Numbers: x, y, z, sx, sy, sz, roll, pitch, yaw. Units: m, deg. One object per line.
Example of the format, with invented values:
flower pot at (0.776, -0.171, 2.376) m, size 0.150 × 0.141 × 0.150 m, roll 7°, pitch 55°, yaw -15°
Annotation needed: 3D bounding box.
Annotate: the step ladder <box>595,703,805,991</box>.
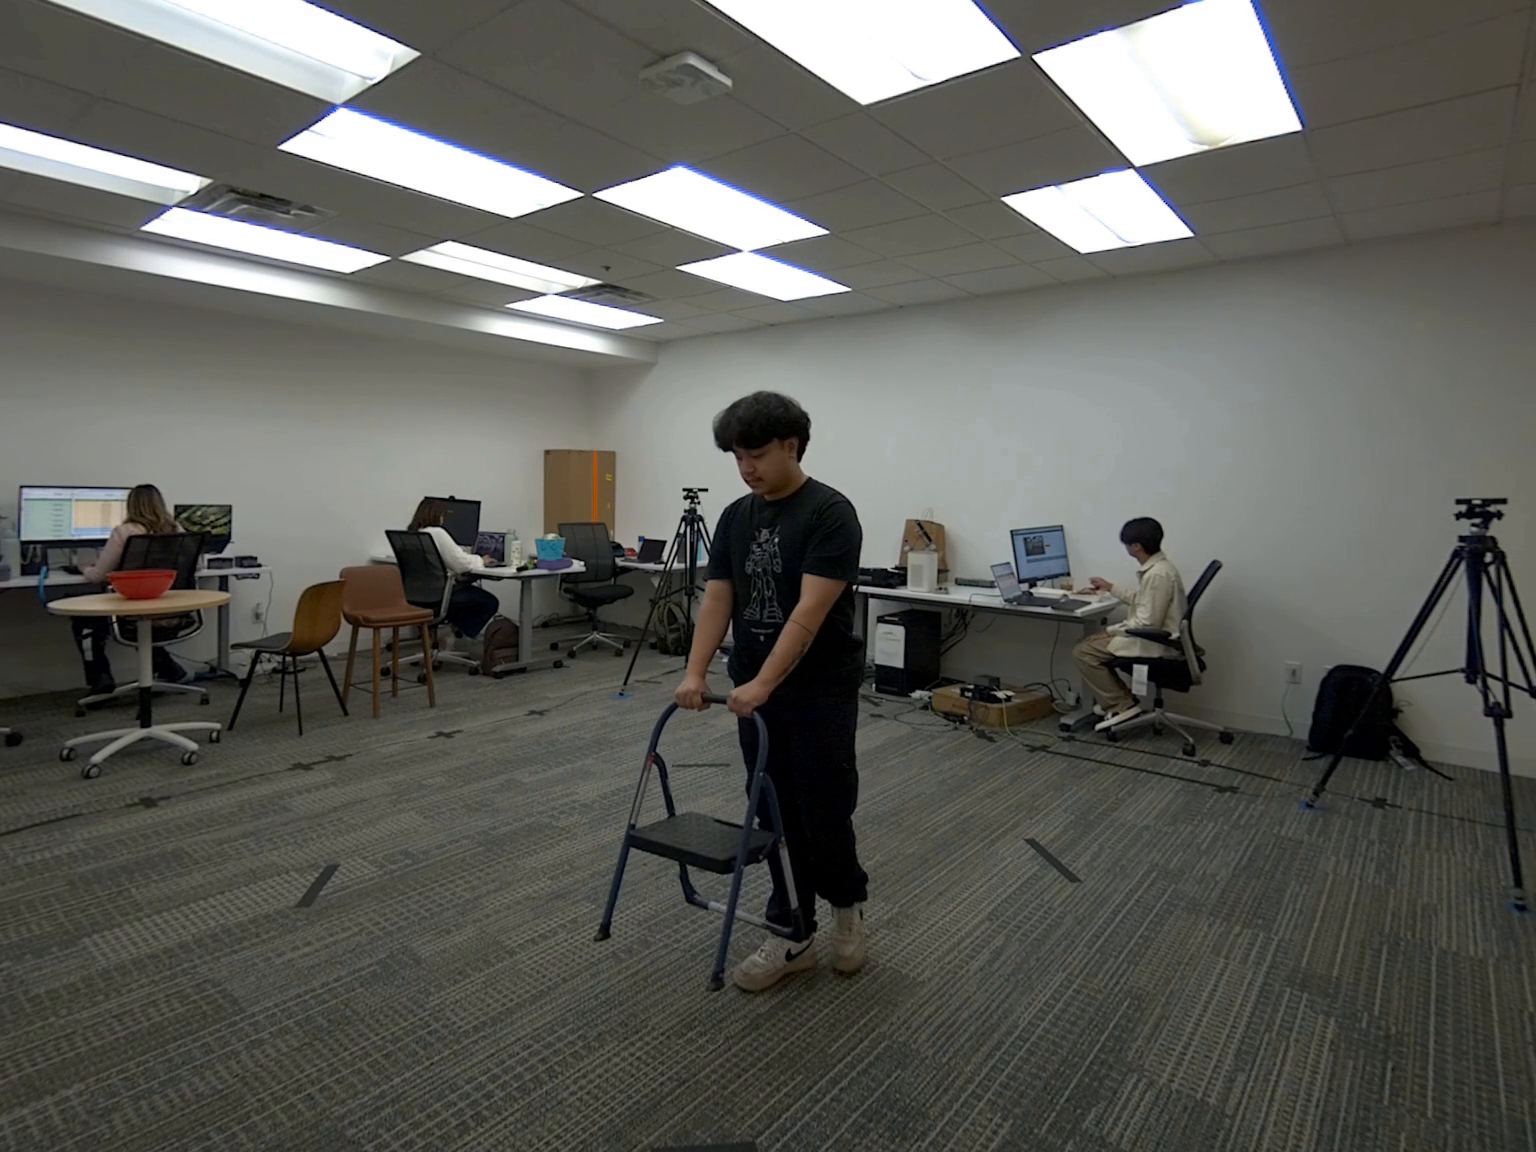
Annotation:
step ladder at (-0.185, 0.624, 2.166) m, size 0.444 × 0.607 × 0.338 m, roll -2°, pitch -2°, yaw 41°
